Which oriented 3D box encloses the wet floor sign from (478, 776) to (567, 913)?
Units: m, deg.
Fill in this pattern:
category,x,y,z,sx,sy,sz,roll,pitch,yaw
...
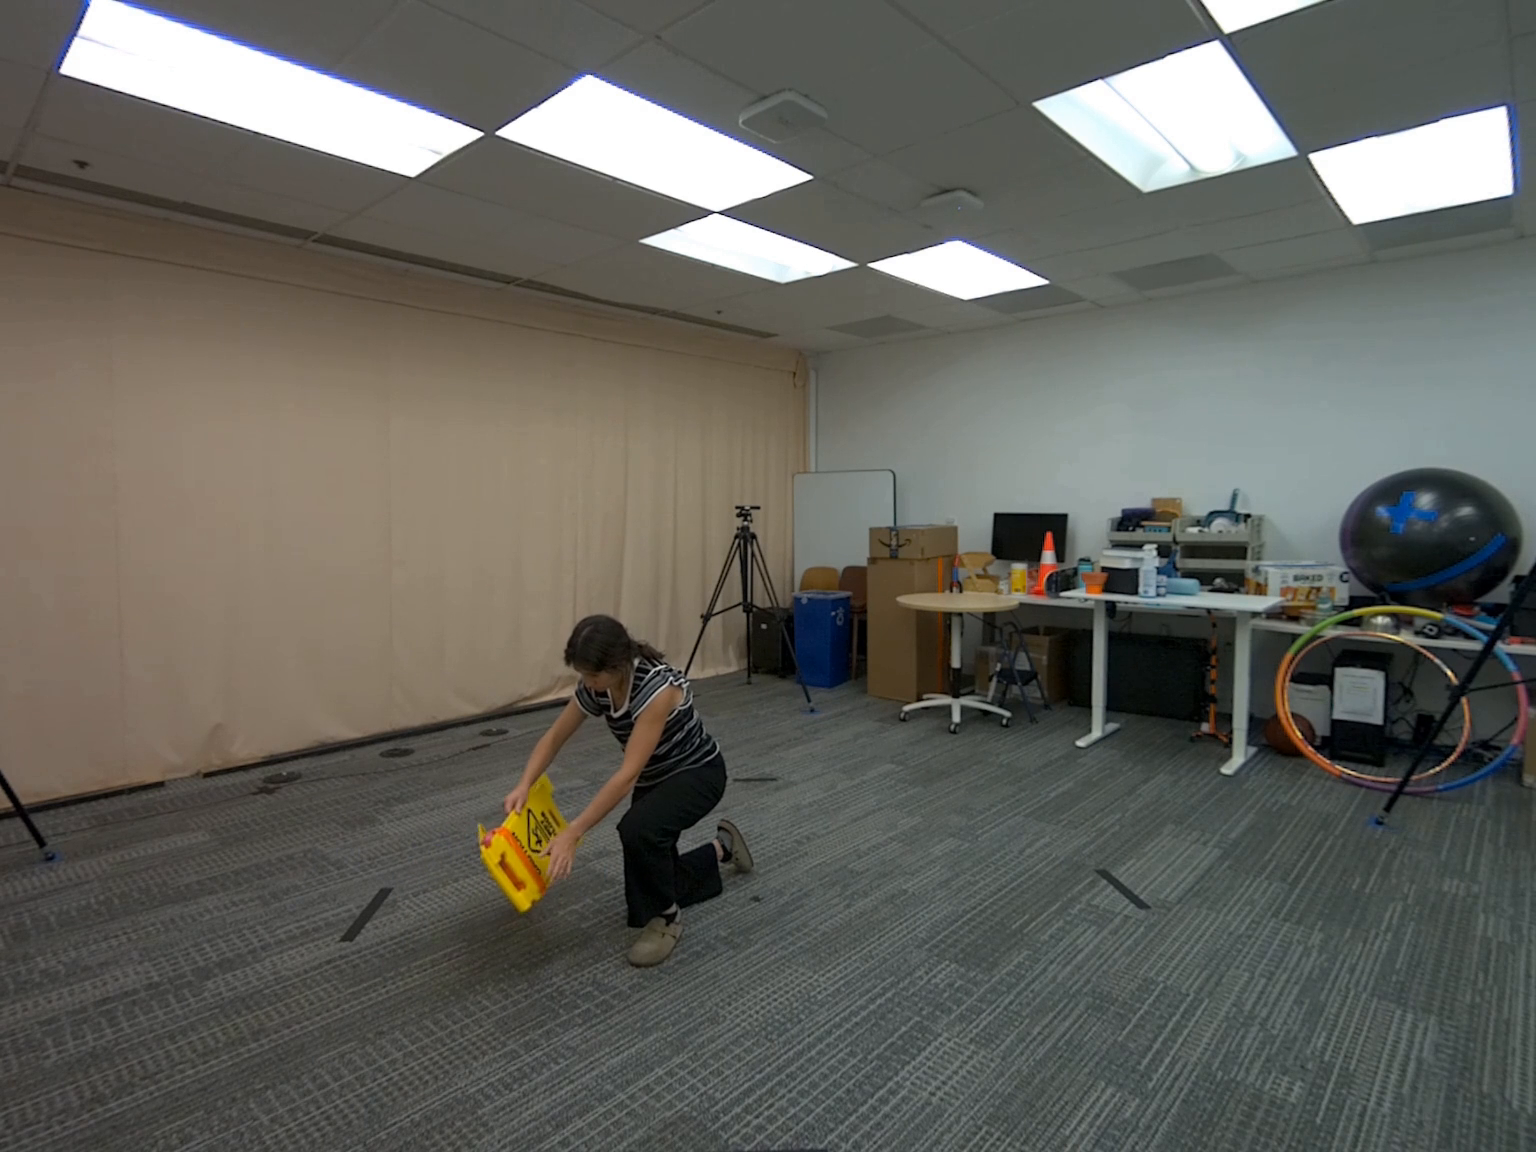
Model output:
category,x,y,z,sx,sy,sz,roll,pitch,yaw
wet floor sign,-0.778,0.873,2.629,0.288,0.282,0.649,-36,1,-9
